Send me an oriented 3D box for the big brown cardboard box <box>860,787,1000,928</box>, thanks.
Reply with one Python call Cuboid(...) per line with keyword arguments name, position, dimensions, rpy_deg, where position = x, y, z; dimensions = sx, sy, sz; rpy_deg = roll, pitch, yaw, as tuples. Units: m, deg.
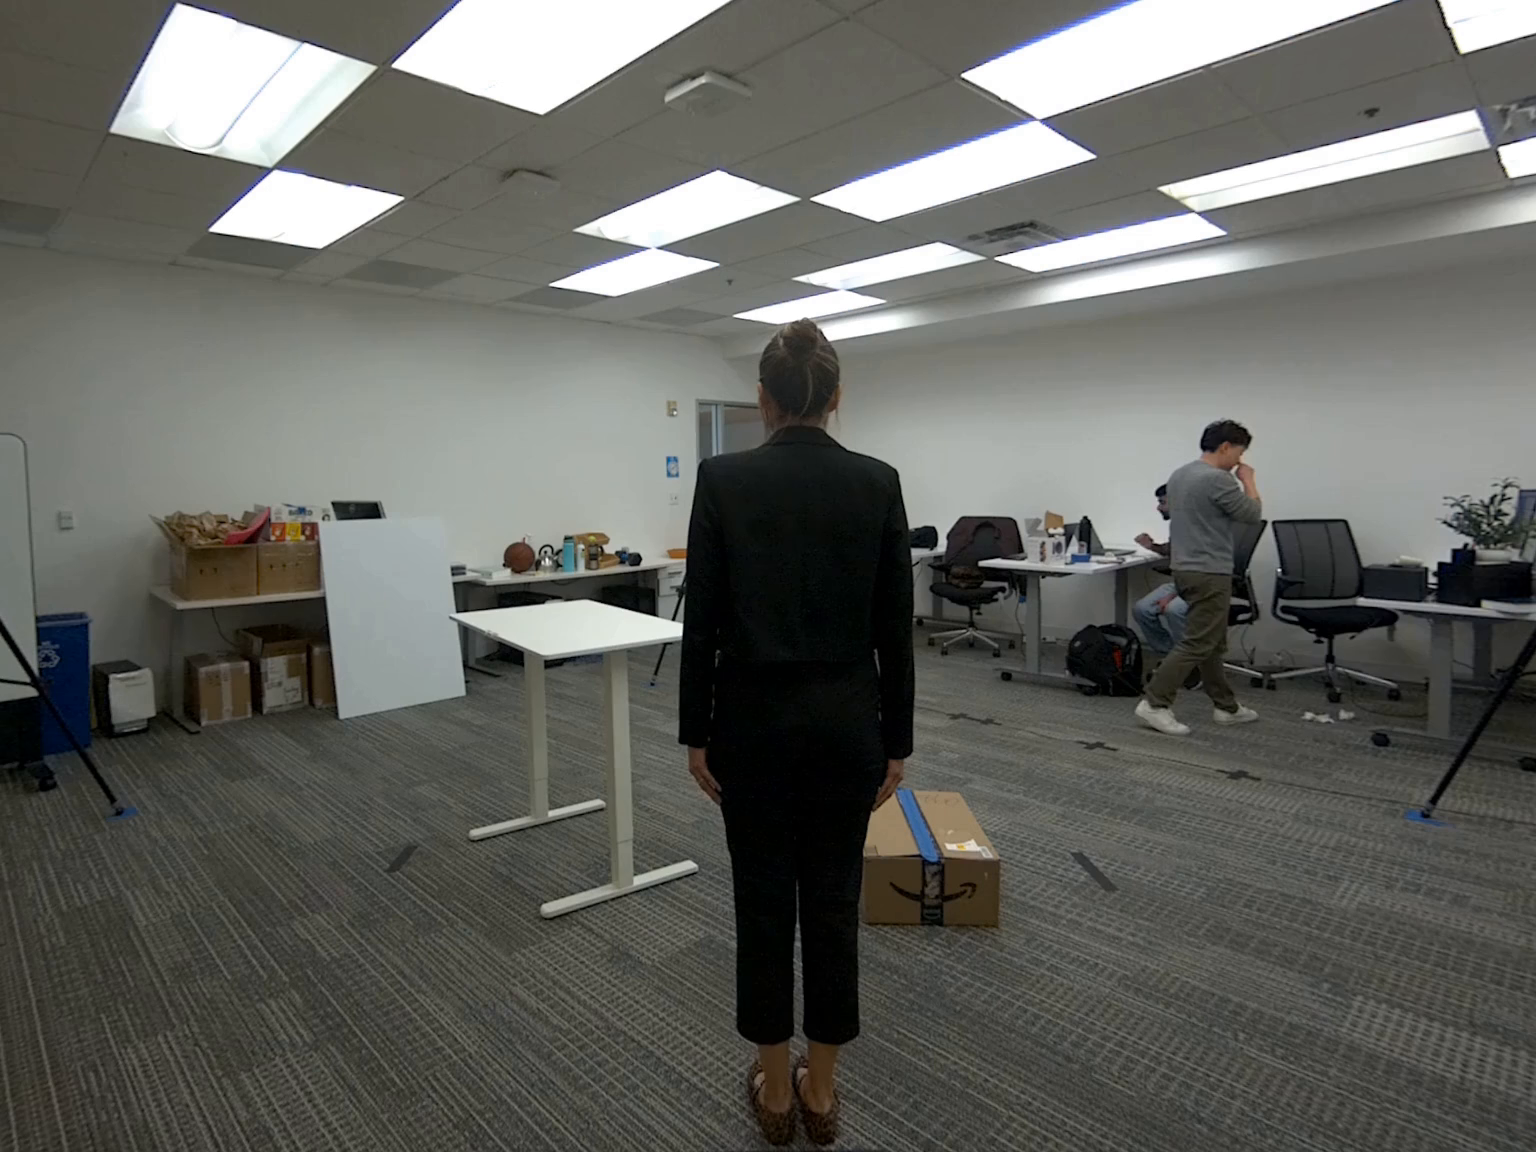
Cuboid(name="big brown cardboard box", position=(0.514, 0.945, 2.921), dimensions=(0.418, 0.232, 0.590), rpy_deg=(-1, 6, 1))
